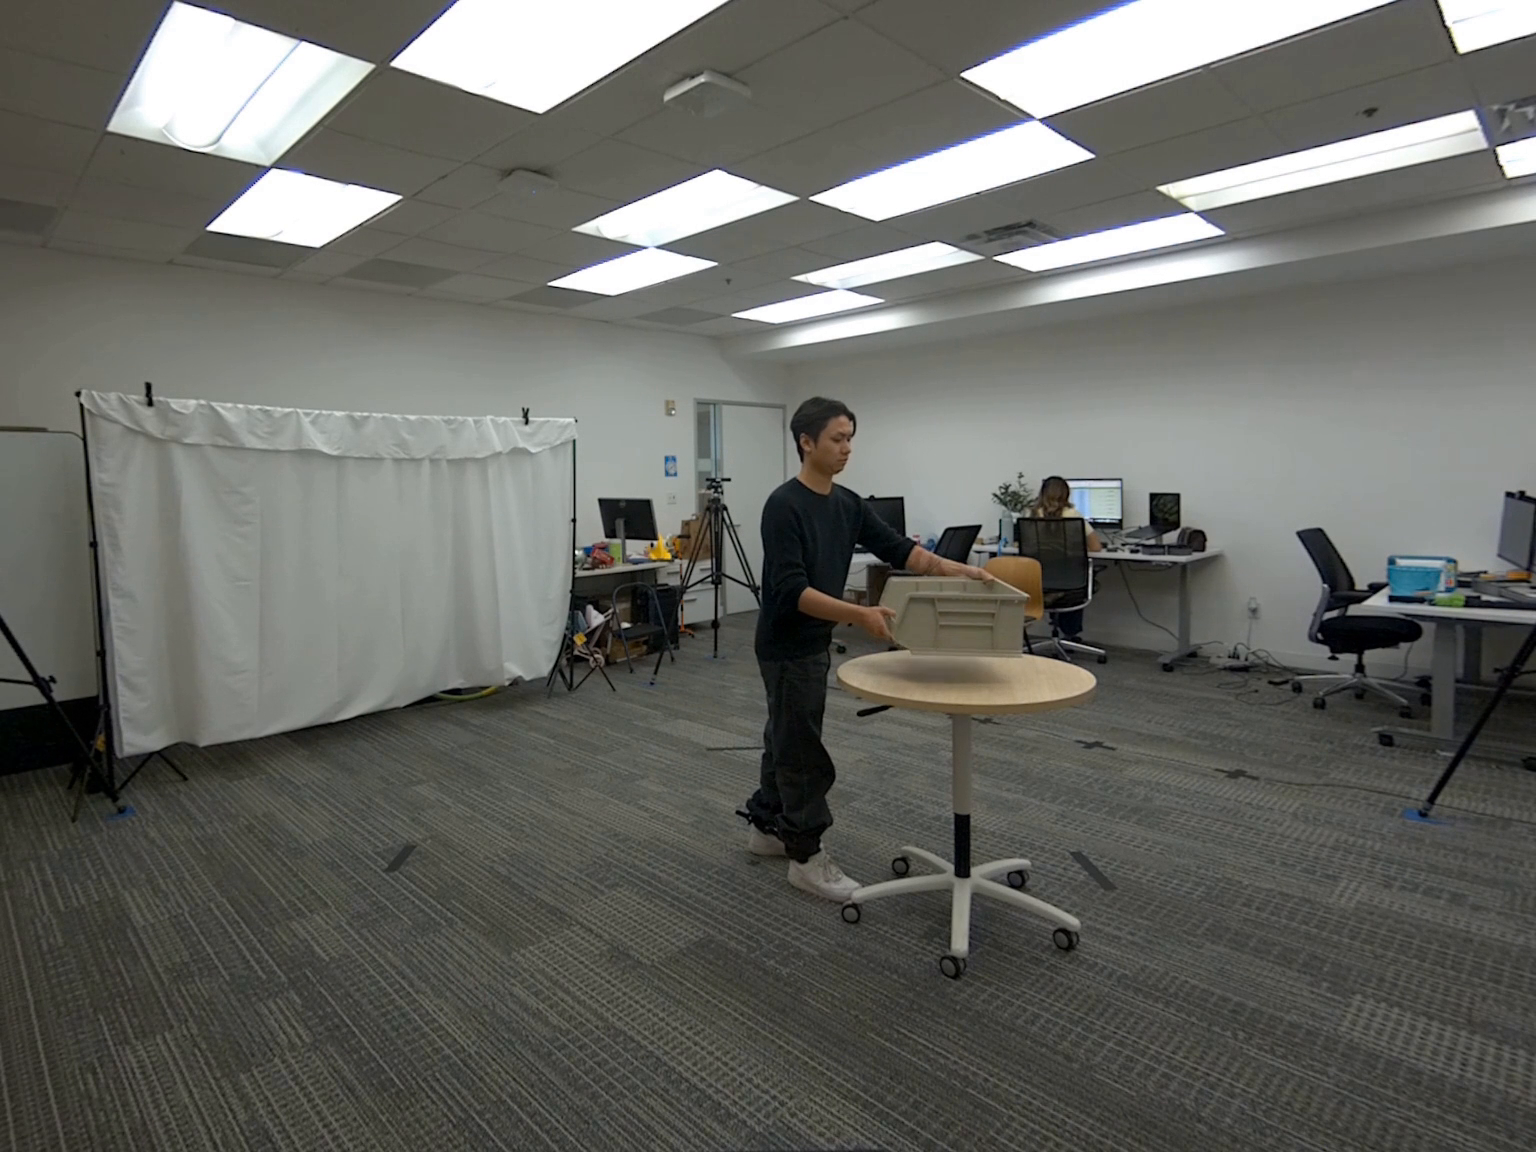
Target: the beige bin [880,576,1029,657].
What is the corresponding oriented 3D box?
[{"bbox_3d":[0.550,0.119,2.645,0.379,0.188,0.423,2,6,2],"label":"beige bin"}]
